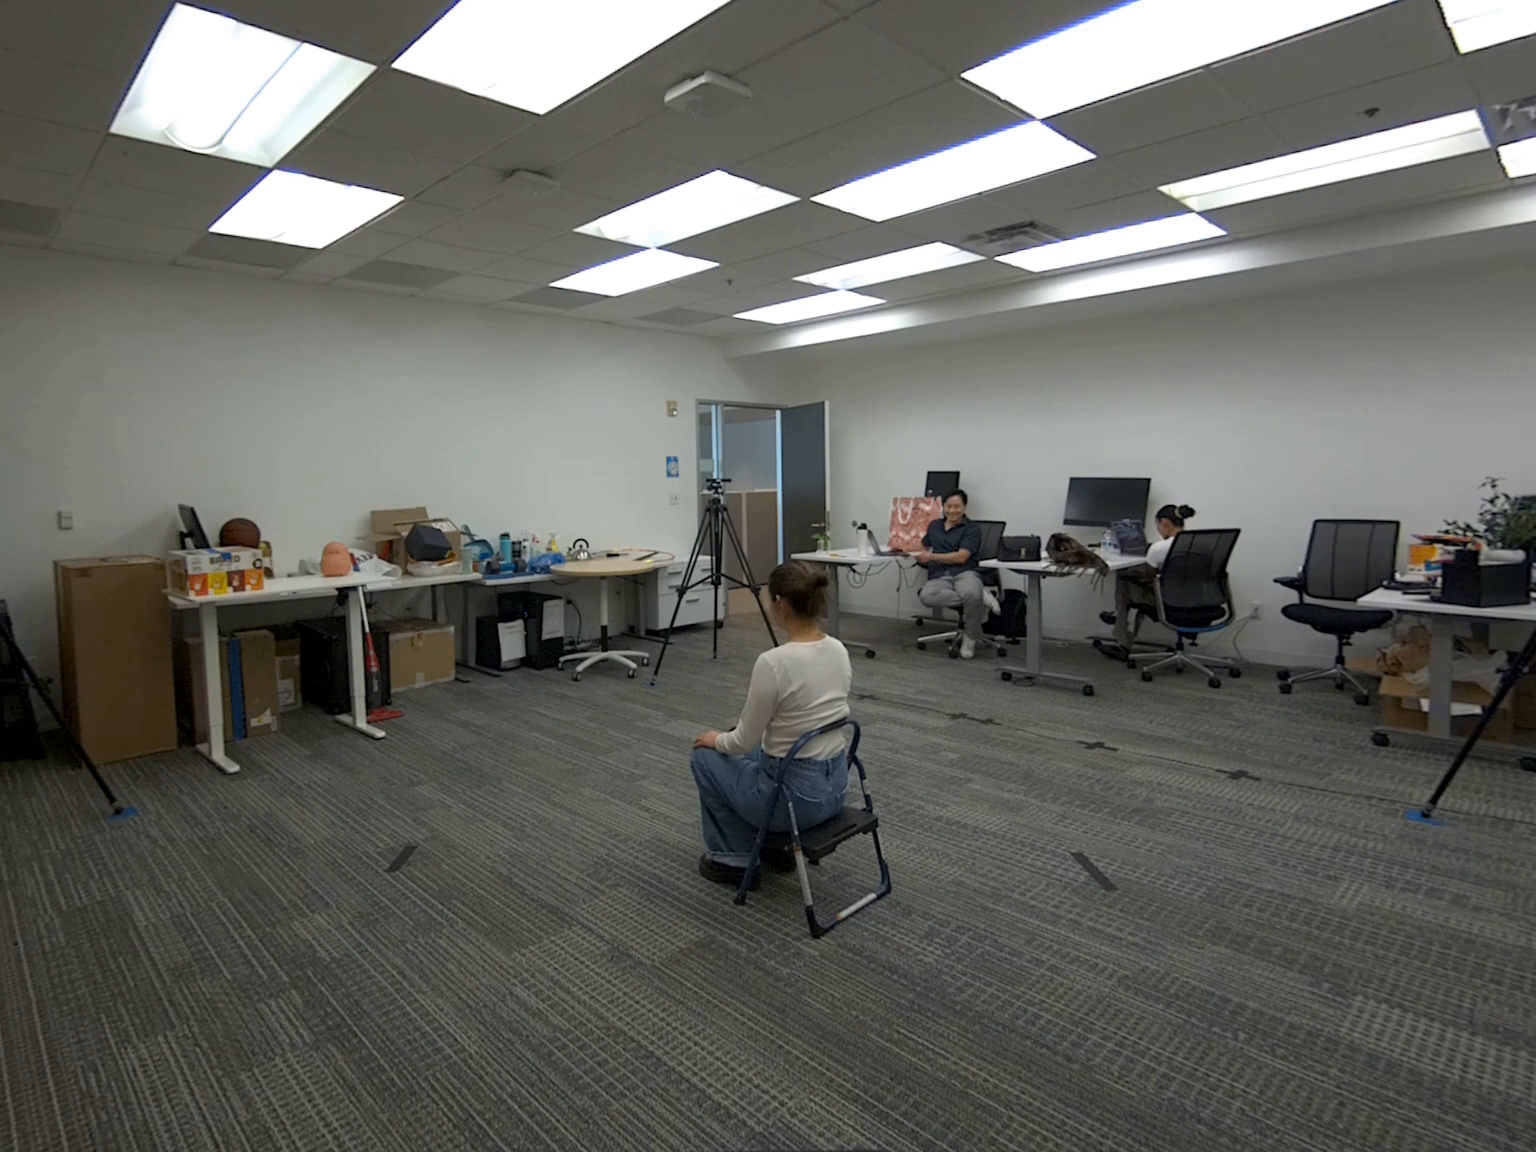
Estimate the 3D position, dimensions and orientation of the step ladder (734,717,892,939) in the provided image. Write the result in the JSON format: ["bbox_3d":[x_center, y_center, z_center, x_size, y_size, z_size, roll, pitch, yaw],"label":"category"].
[{"bbox_3d":[0.153,0.768,2.828,0.360,0.604,0.419,3,6,43],"label":"step ladder"}]
